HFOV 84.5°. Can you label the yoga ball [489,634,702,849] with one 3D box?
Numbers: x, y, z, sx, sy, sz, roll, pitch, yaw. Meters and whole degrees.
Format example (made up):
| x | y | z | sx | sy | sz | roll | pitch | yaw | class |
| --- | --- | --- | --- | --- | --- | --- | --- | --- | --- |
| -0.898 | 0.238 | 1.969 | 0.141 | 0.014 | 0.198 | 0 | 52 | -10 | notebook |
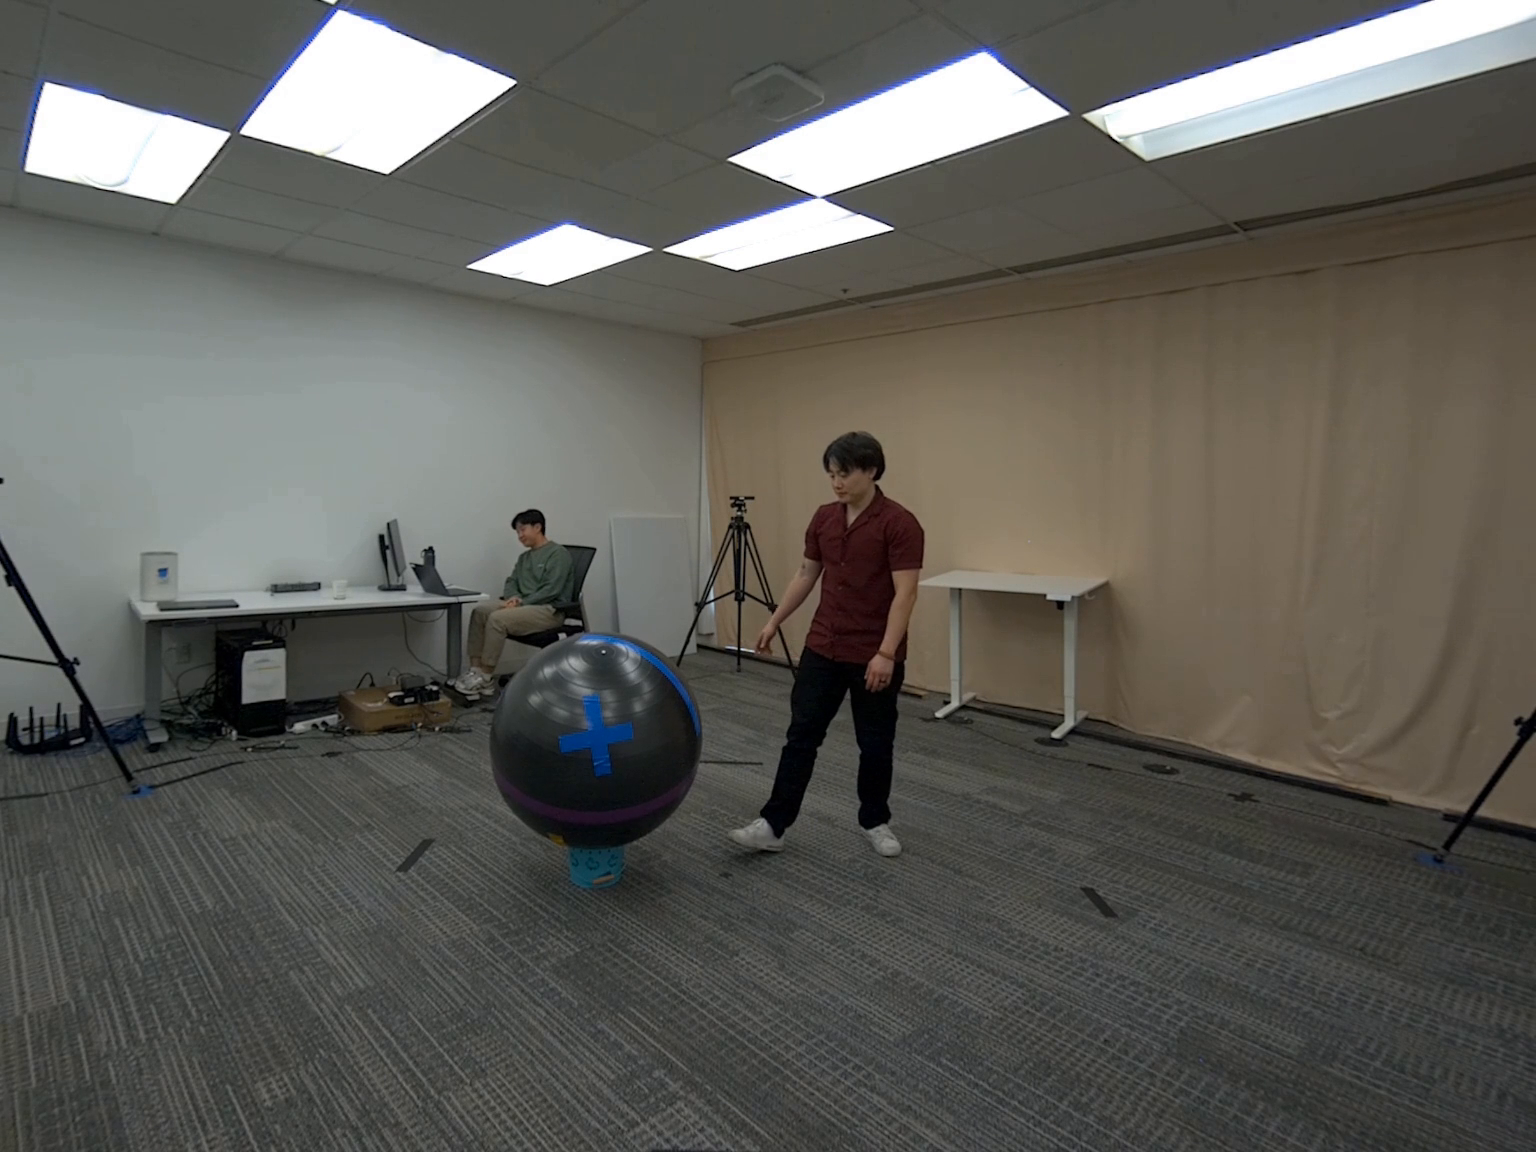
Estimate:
| x | y | z | sx | sy | sz | roll | pitch | yaw | class |
| --- | --- | --- | --- | --- | --- | --- | --- | --- | --- |
| -0.624 | 0.592 | 3.033 | 0.757 | 0.756 | 0.761 | 1 | 4 | -1 | yoga ball |
